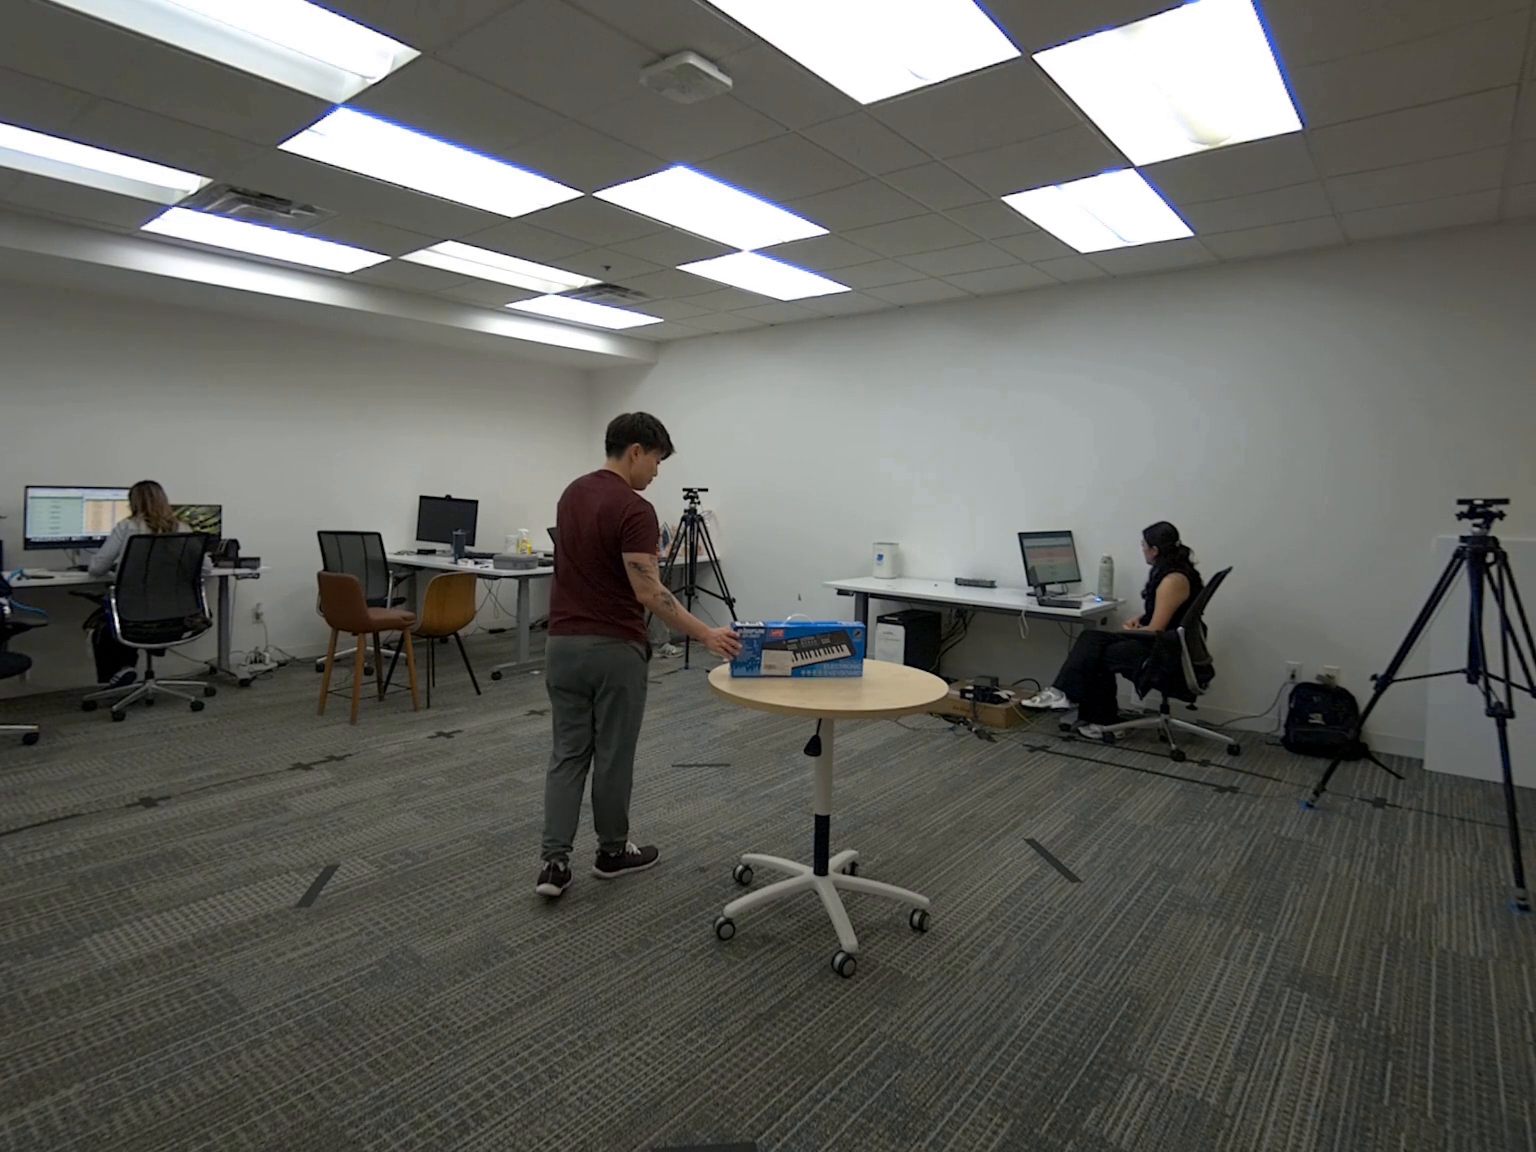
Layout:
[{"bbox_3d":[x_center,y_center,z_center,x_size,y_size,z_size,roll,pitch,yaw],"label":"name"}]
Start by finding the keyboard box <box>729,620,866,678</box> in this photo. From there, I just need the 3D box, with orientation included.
[{"bbox_3d":[0.092,0.237,2.777,0.434,0.174,0.060,0,11,-6],"label":"keyboard box"}]
